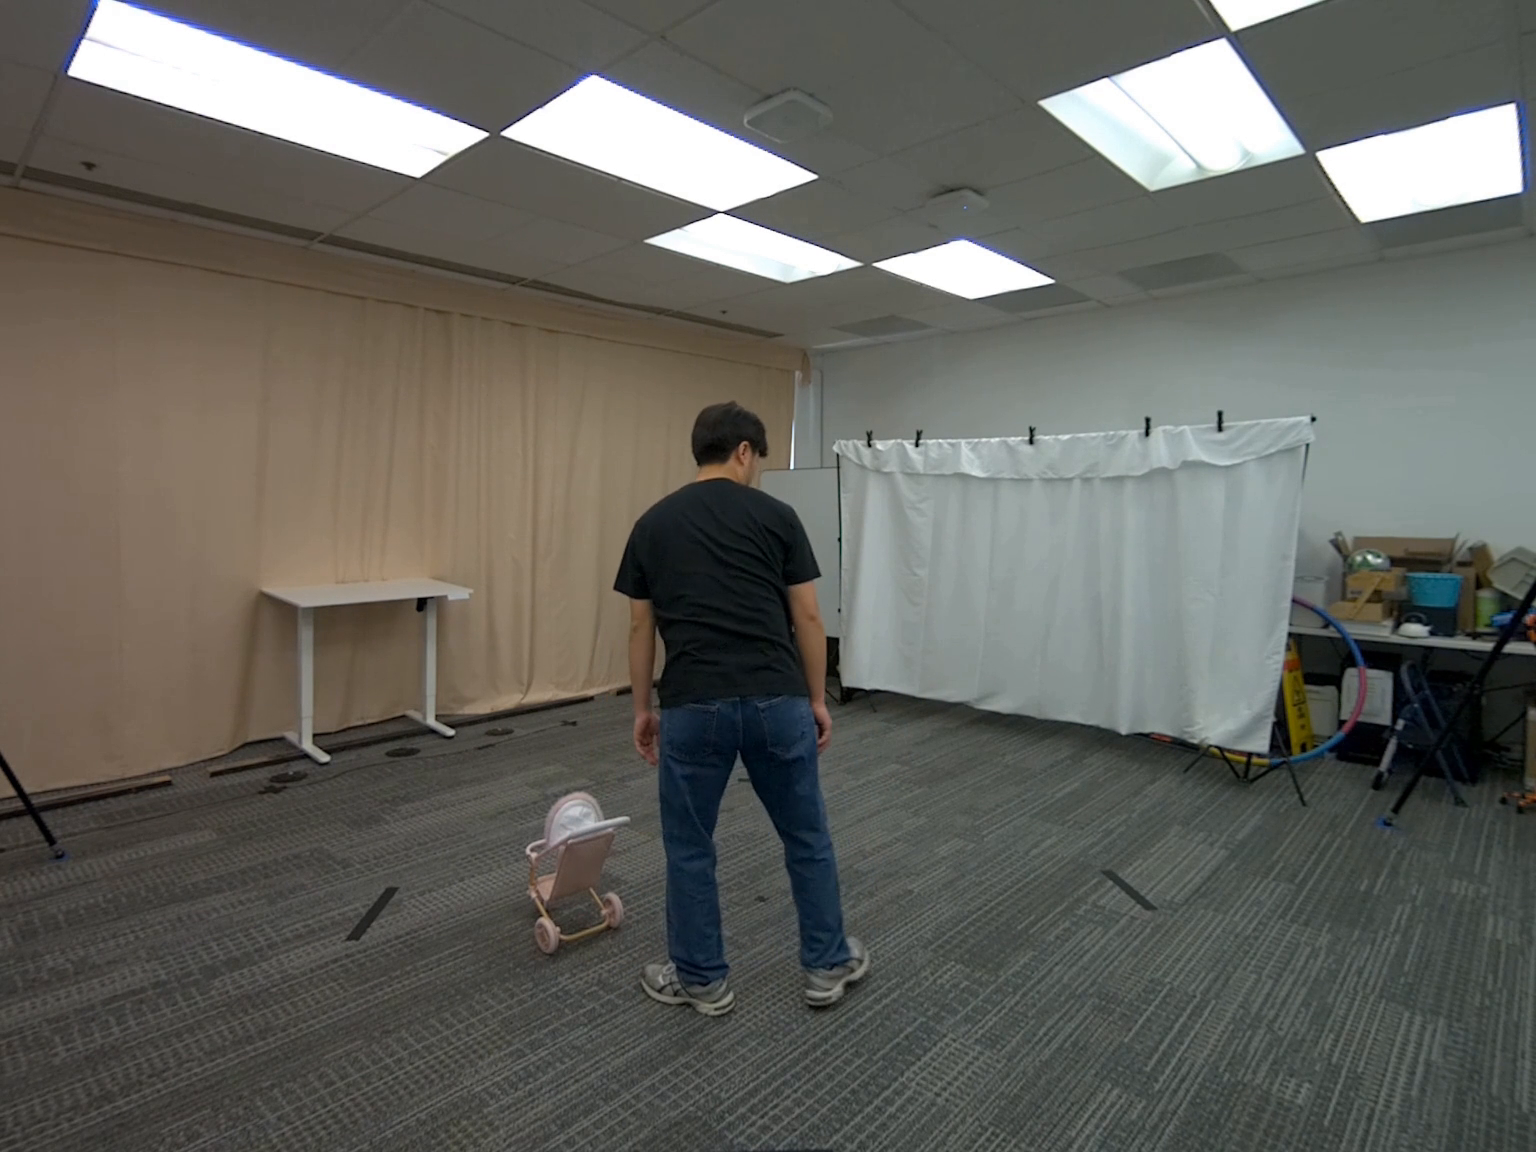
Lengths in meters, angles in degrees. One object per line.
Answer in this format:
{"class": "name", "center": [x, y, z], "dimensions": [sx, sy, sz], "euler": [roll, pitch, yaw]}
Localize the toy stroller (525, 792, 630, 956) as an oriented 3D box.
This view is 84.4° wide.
{"class": "toy stroller", "center": [-0.644, 0.945, 2.754], "dimensions": [0.273, 0.531, 0.354], "euler": [-1, 19, -38]}
